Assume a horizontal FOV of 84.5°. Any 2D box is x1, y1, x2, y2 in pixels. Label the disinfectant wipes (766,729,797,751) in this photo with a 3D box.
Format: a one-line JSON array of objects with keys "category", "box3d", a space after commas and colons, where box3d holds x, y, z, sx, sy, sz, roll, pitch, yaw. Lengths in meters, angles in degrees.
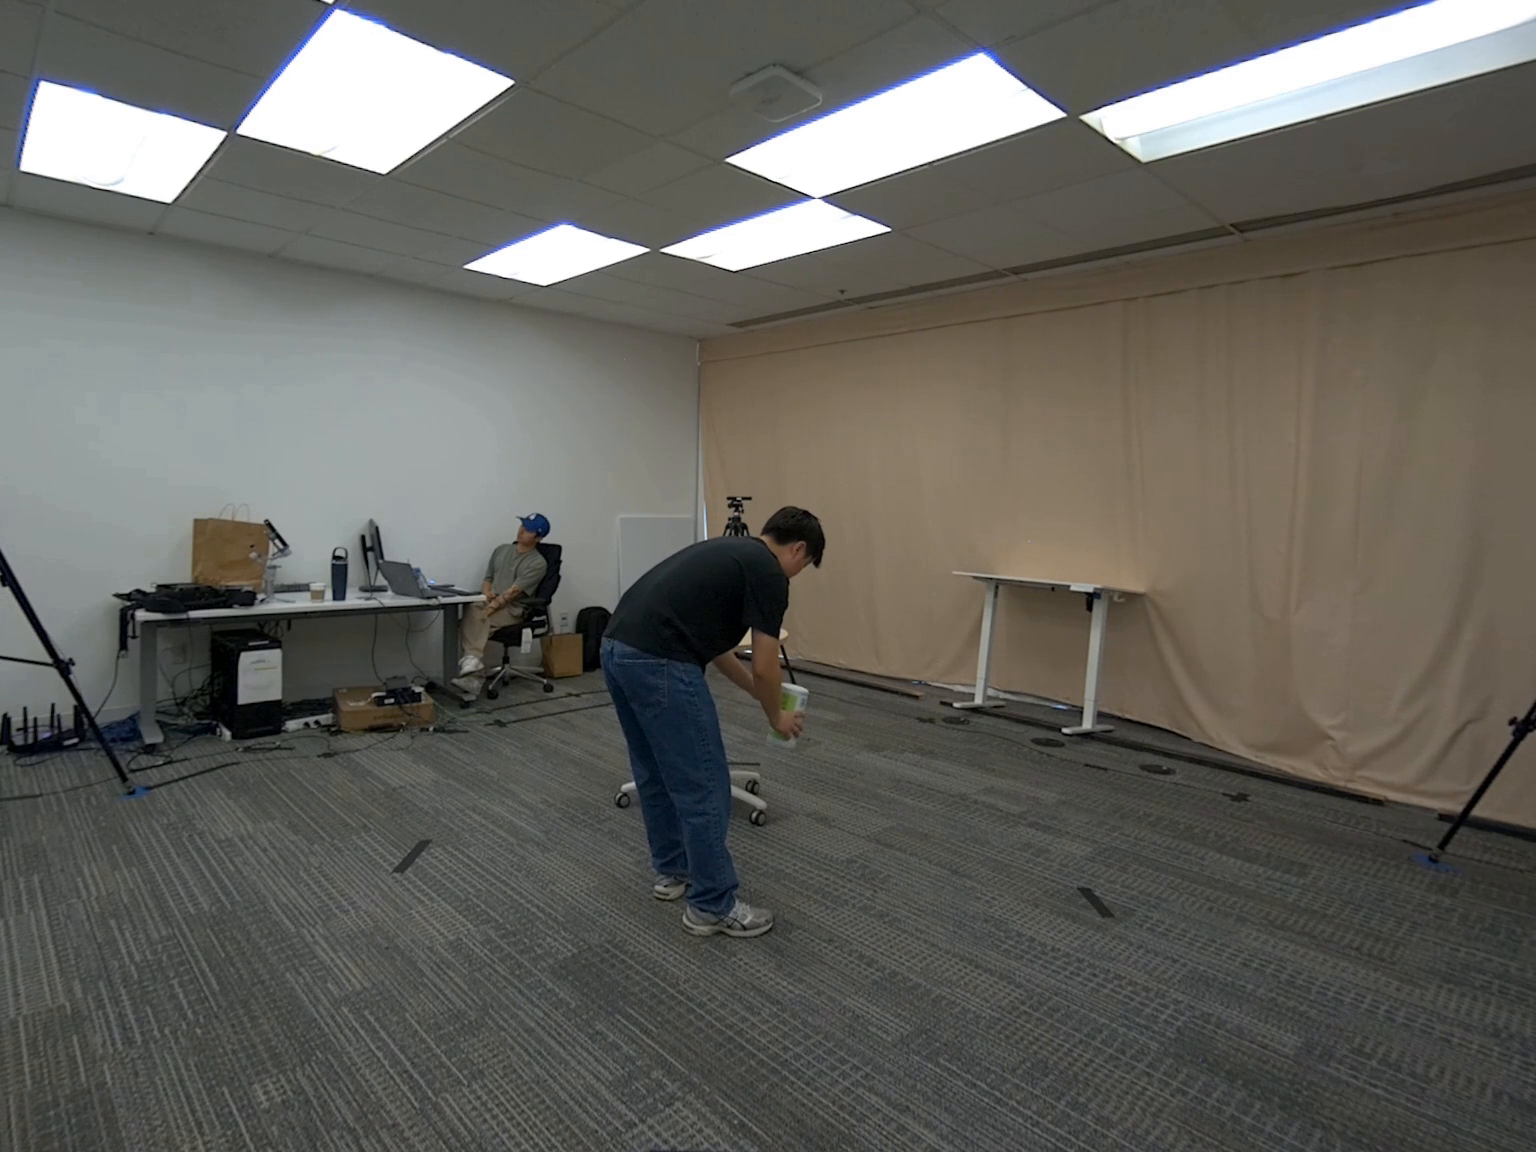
[{"category": "disinfectant wipes", "box3d": [0.071, 0.511, 3.039, 0.118, 0.217, 0.118, 13, 1, -2]}]
